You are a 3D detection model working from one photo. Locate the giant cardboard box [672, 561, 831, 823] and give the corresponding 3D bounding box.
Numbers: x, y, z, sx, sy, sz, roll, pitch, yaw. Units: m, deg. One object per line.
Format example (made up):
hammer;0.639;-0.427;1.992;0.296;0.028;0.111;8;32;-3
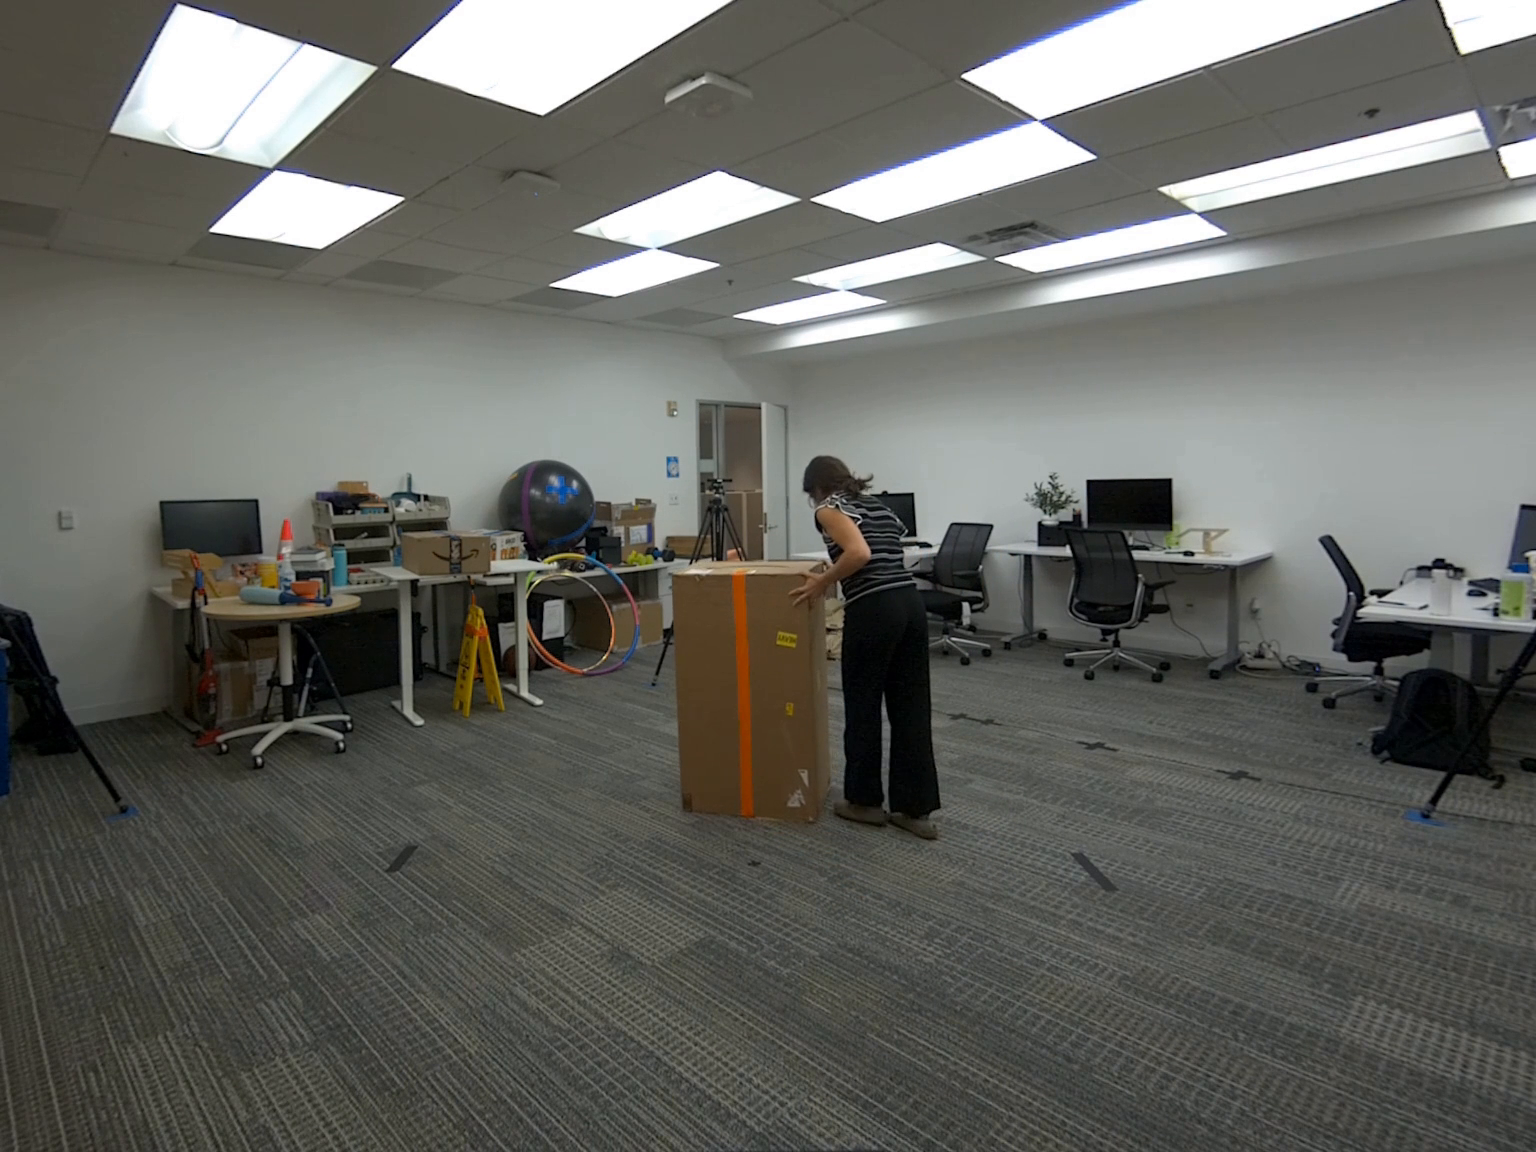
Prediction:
giant cardboard box;-0.063;0.467;3.697;0.587;1.021;0.421;0;5;17
